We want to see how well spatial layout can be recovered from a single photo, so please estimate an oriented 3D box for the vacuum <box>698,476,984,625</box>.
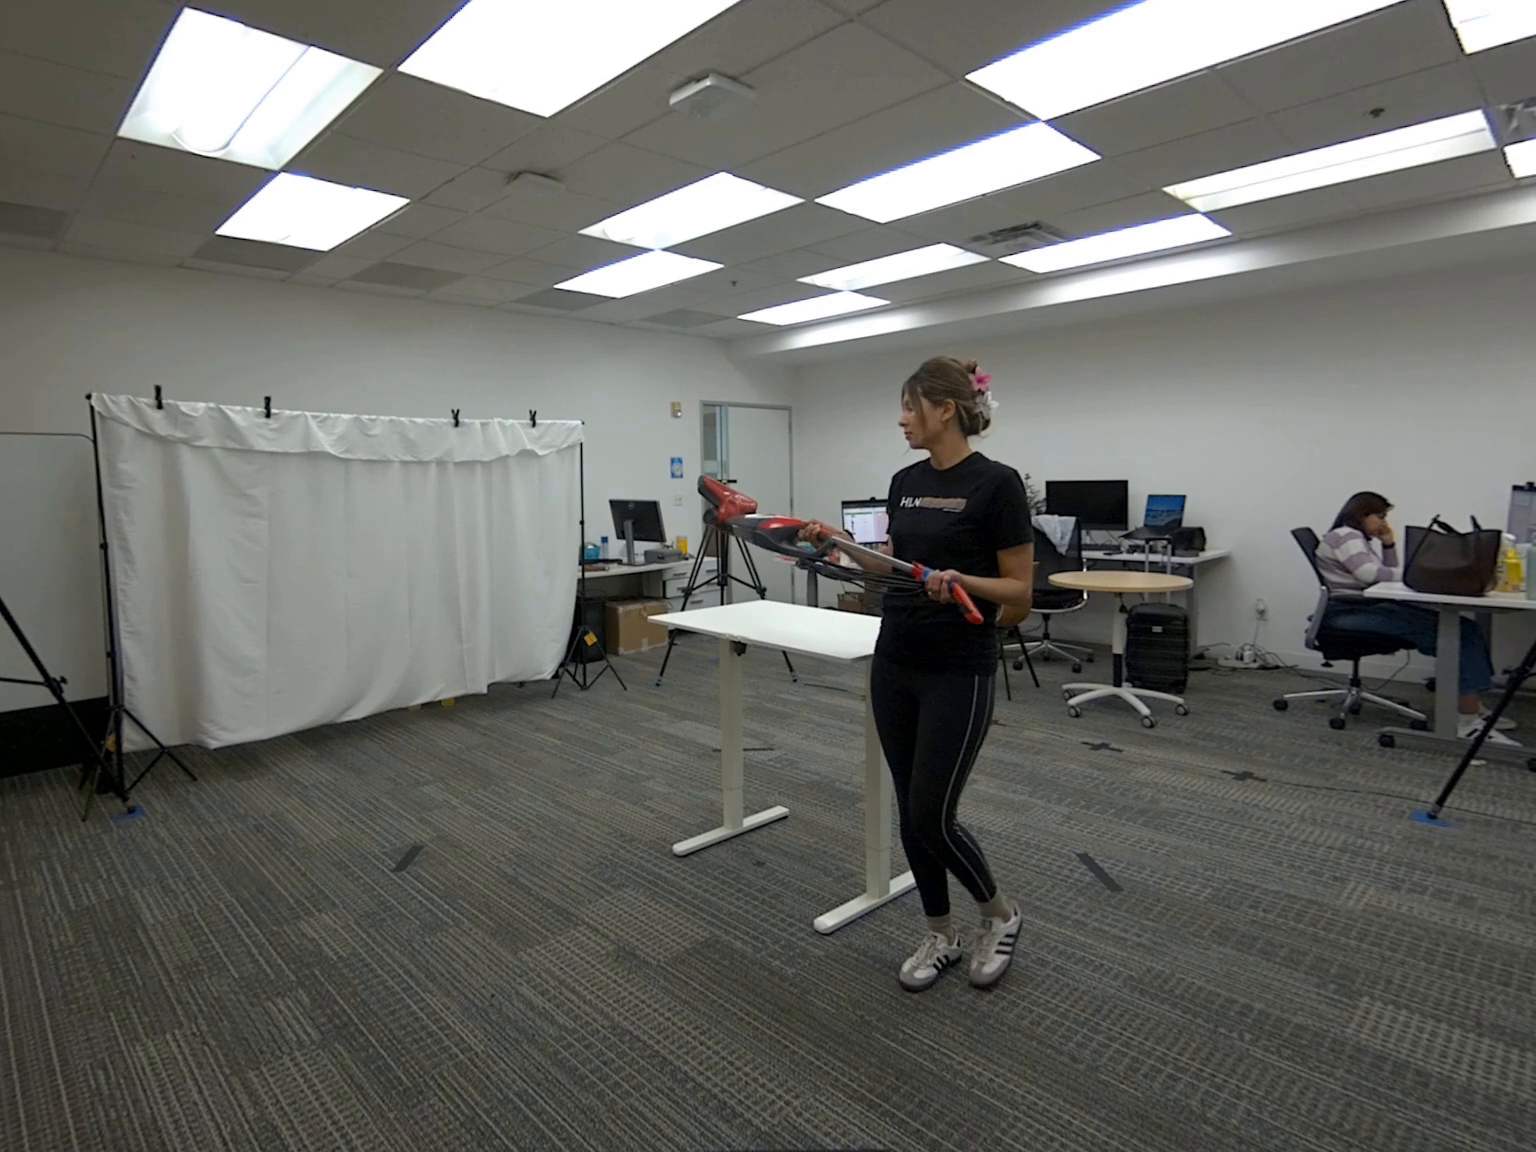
[{"bbox_3d":[0.165,-0.055,2.349,0.243,0.144,1.089,23,3,-39],"label":"vacuum"}]
